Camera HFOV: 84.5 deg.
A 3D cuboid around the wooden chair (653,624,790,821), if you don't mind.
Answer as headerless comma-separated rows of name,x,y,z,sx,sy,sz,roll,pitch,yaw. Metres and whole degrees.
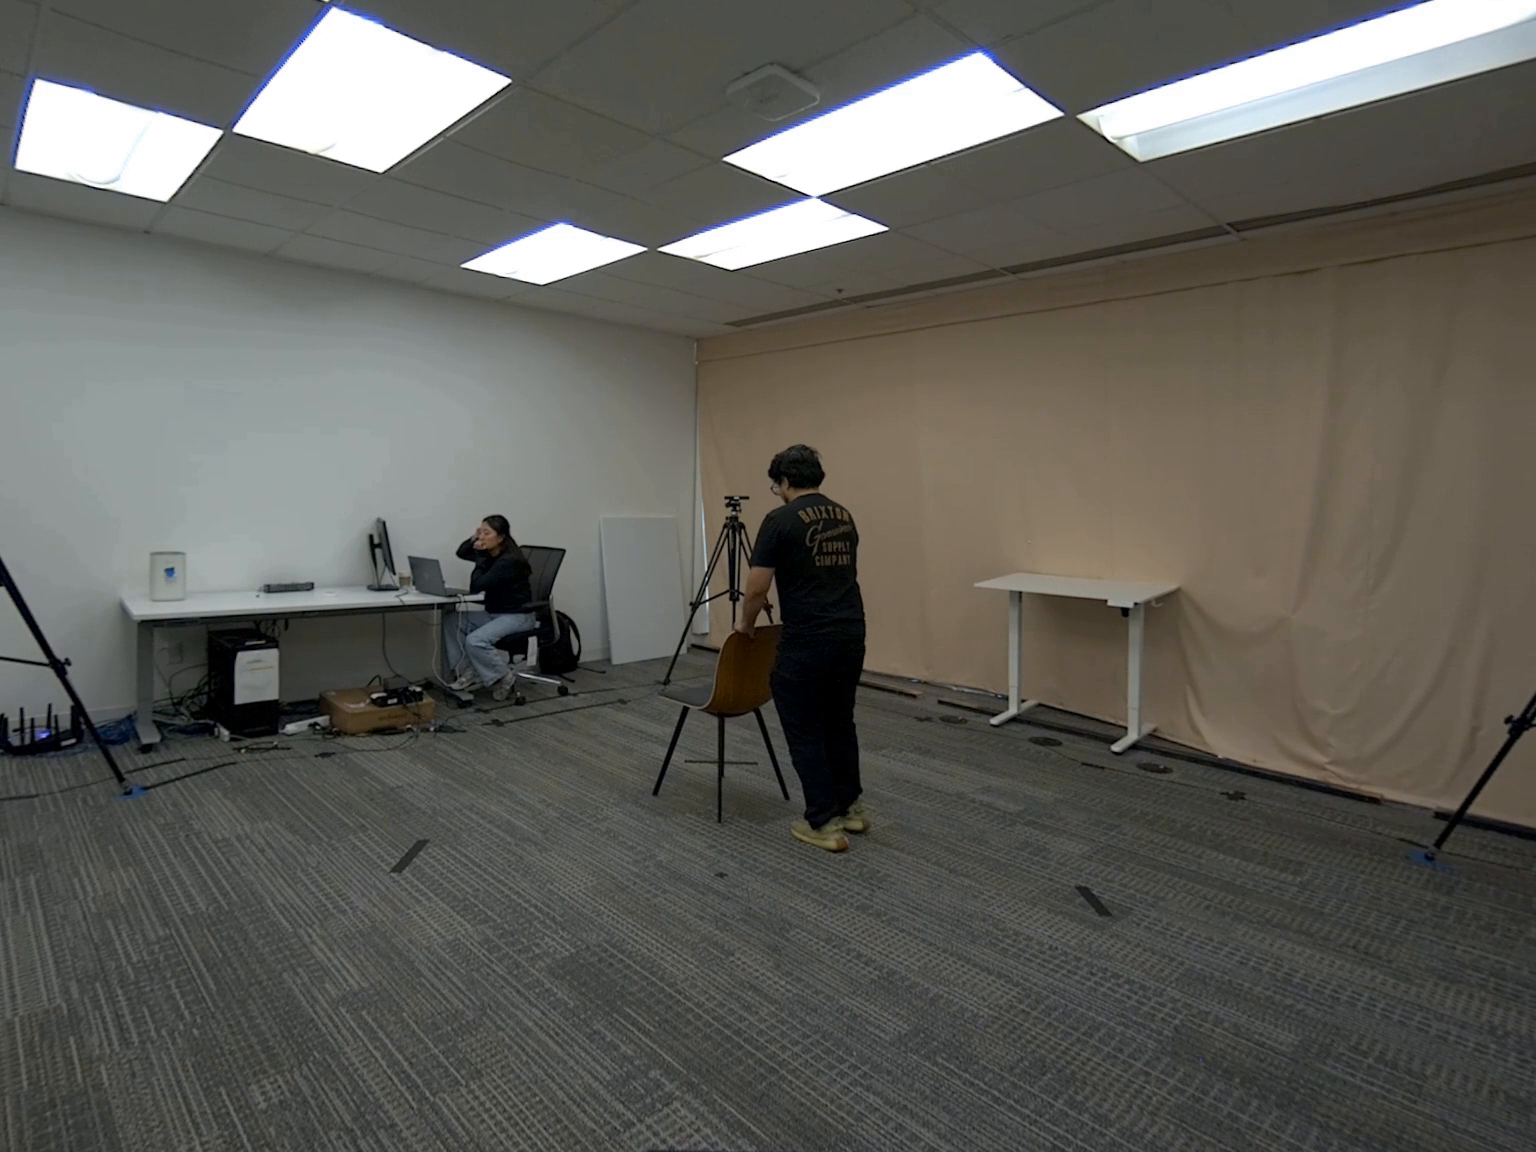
wooden chair,-0.222,0.606,3.888,0.537,0.873,0.467,11,9,44
